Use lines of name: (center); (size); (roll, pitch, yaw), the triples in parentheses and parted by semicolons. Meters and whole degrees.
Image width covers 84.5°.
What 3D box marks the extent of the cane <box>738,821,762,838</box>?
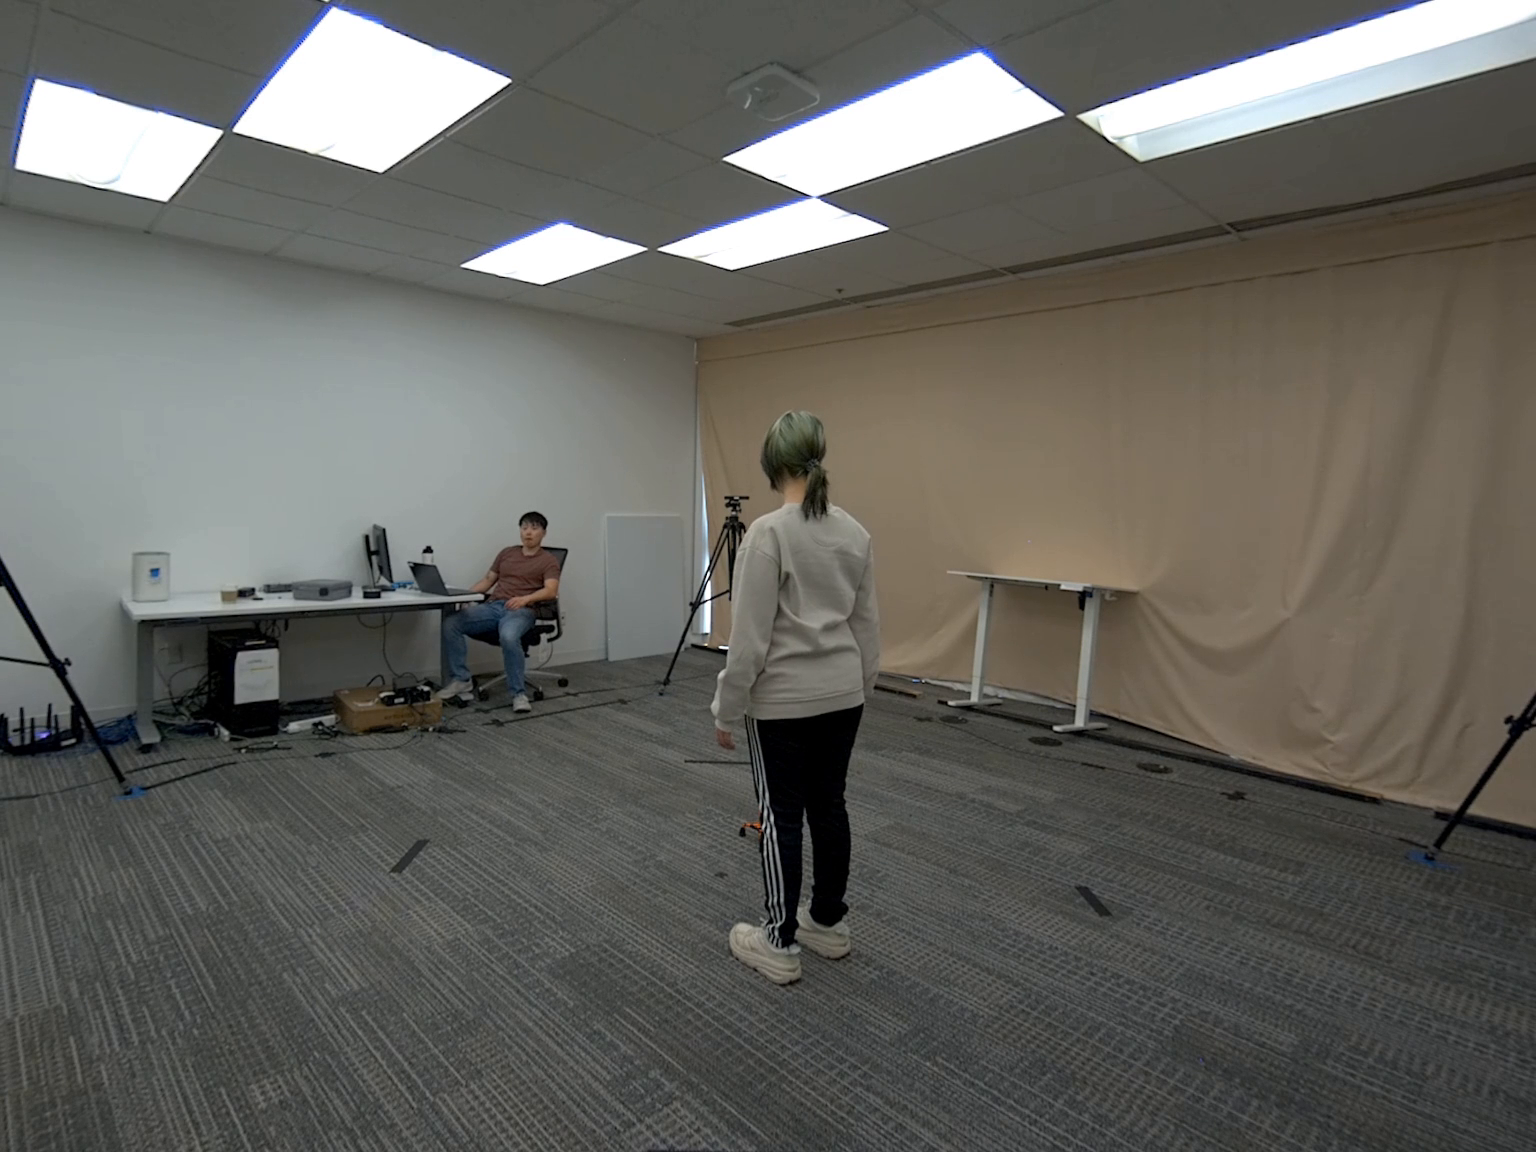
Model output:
cane: (-0.004, 0.630, 3.403); (0.149, 0.906, 0.210); (1, 3, -25)
